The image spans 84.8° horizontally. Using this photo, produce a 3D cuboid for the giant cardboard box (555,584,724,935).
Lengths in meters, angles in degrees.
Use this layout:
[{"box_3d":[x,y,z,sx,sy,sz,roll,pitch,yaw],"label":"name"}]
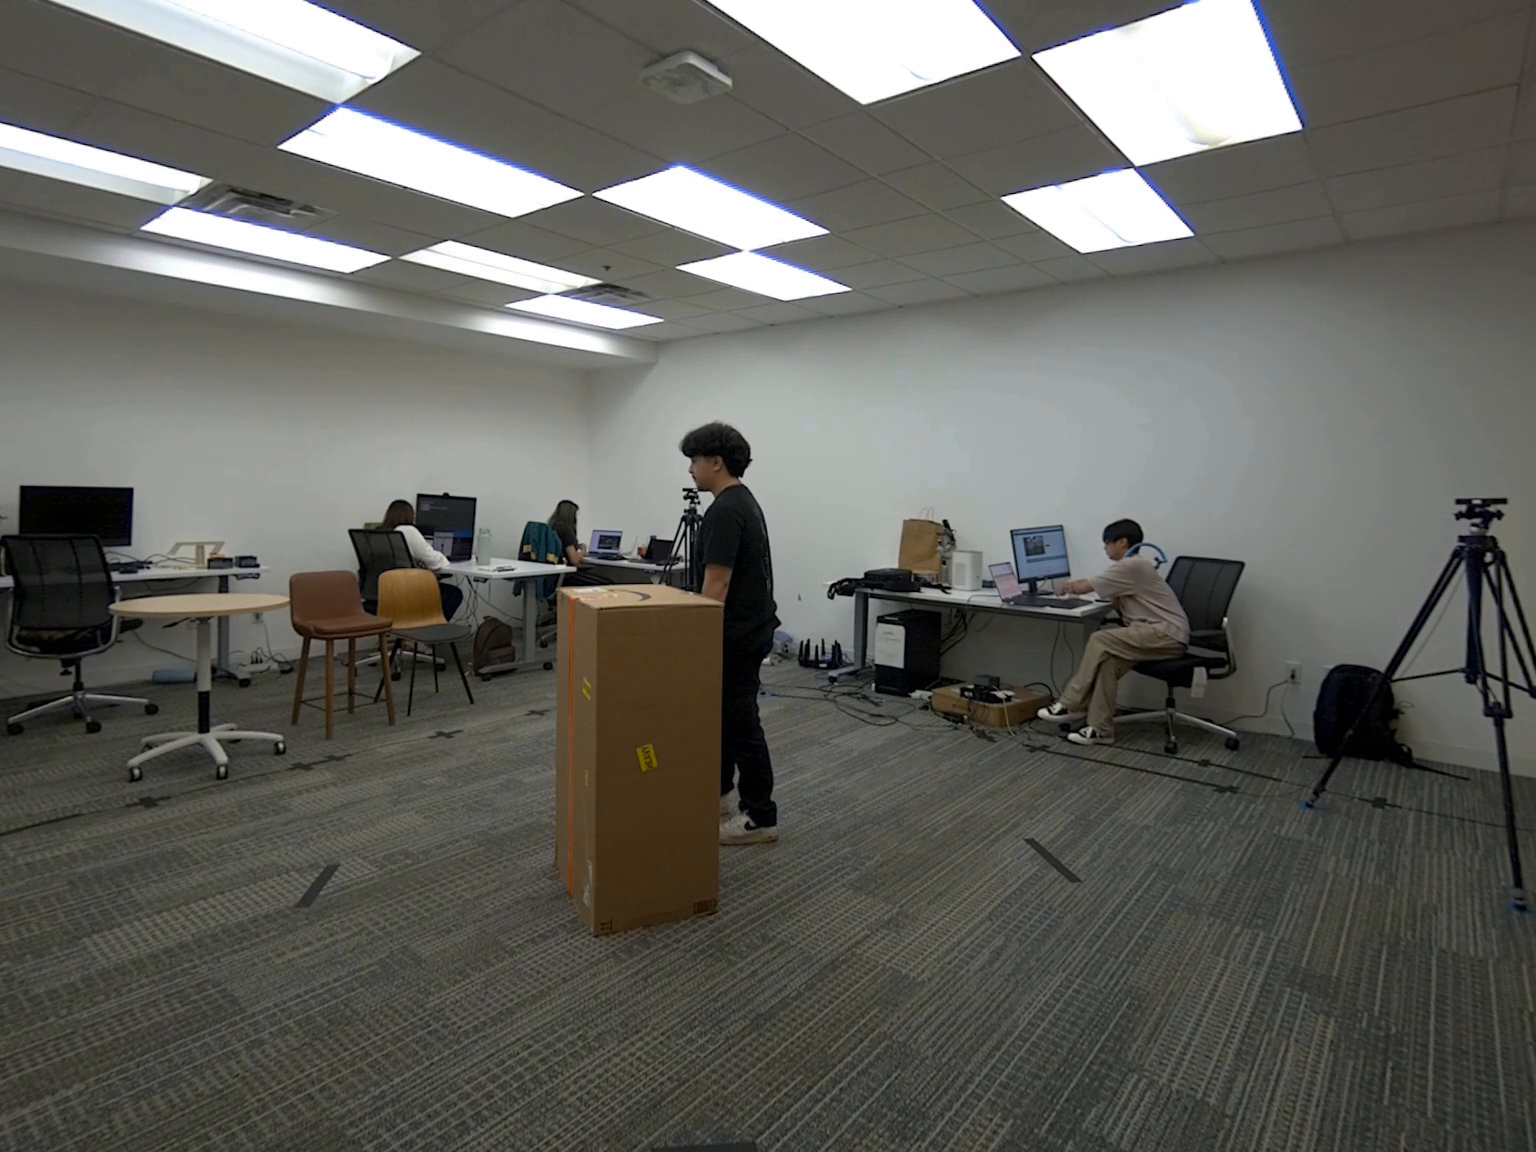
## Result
[{"box_3d":[-0.479,0.569,2.938,0.436,1.024,0.599,-1,4,-25],"label":"giant cardboard box"}]
